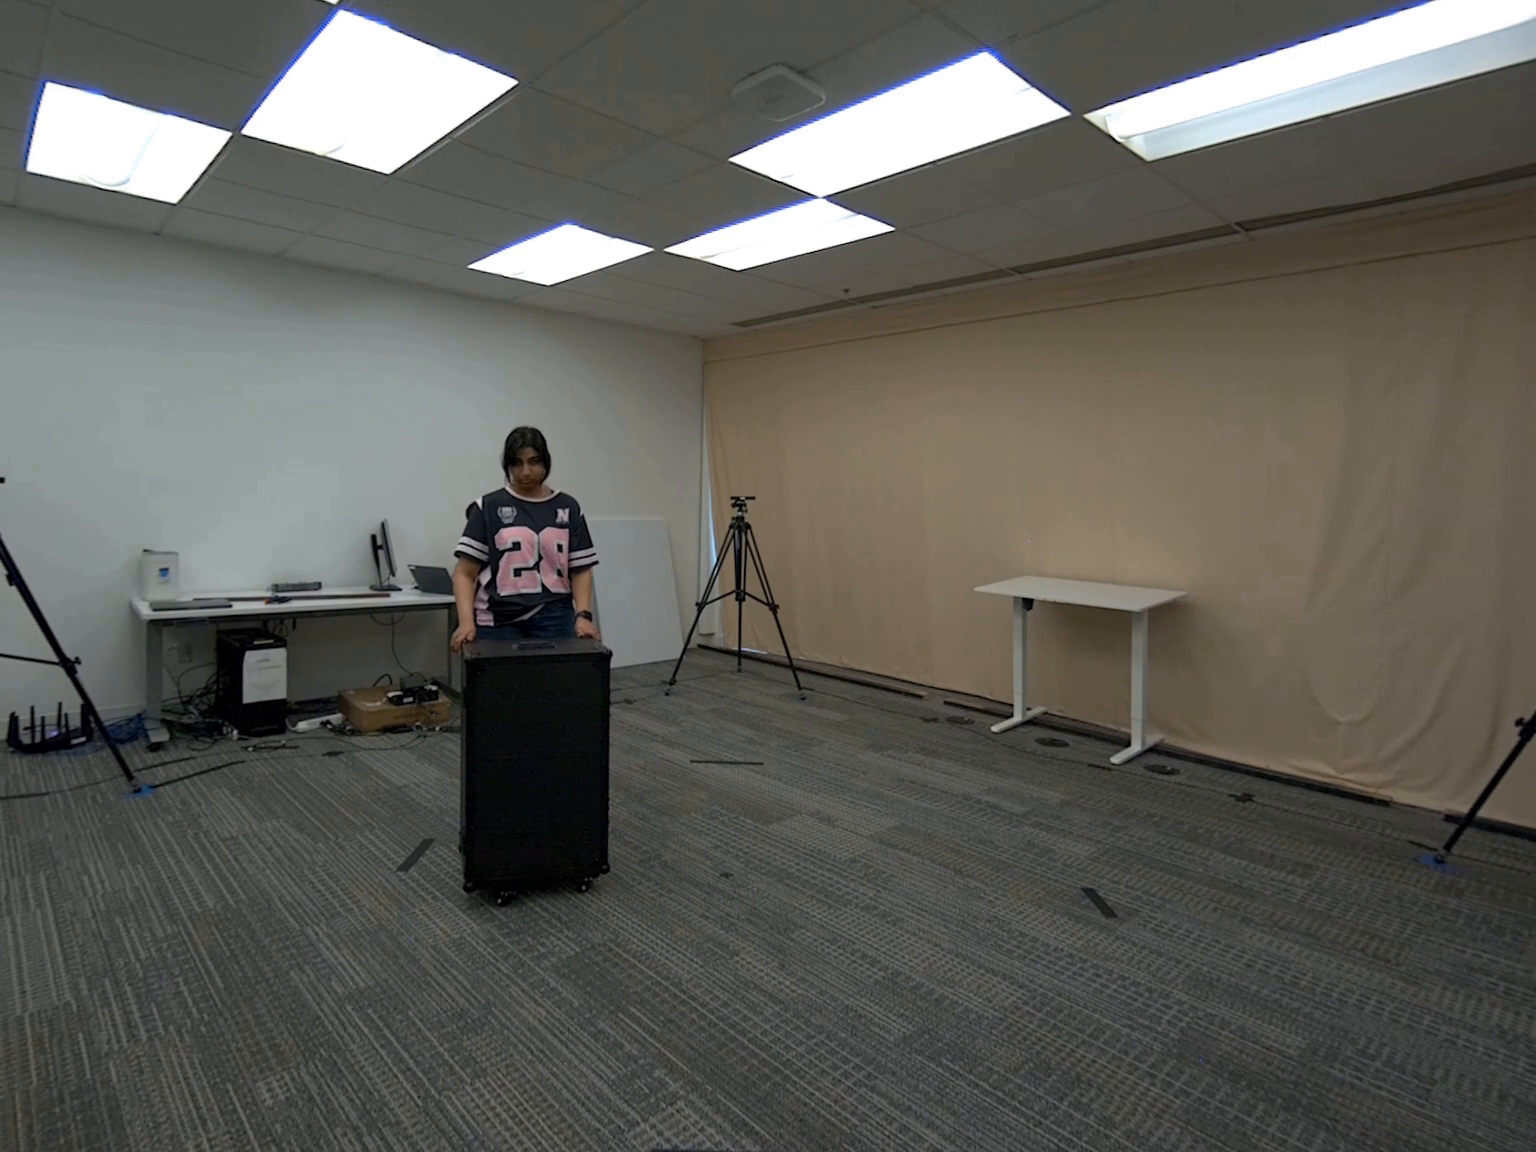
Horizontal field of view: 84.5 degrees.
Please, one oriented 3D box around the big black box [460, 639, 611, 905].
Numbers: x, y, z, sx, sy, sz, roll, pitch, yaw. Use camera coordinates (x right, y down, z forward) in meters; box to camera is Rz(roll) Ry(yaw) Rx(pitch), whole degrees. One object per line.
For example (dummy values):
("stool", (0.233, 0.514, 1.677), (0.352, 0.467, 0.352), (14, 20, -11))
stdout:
("big black box", (-0.850, 0.678, 2.999), (0.515, 0.867, 0.392), (0, 3, -23))
